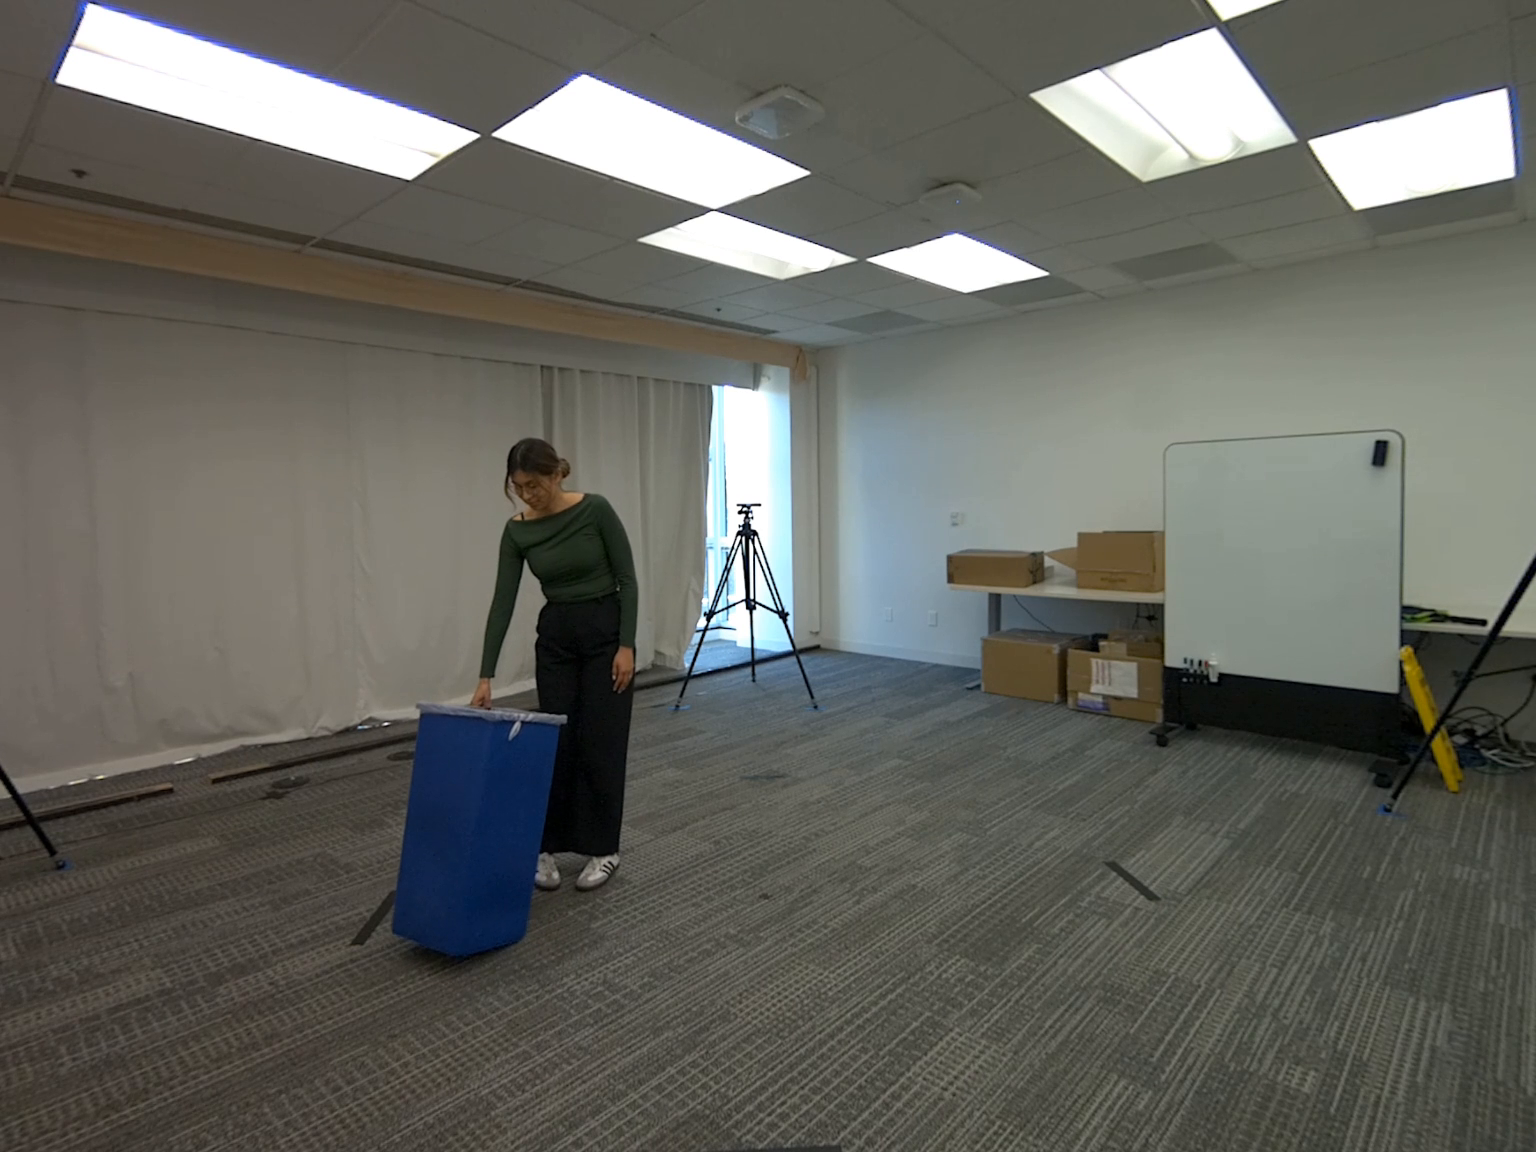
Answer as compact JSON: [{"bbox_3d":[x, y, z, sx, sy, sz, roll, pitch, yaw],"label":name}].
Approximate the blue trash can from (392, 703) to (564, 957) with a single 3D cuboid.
[{"bbox_3d":[-0.947,0.794,2.740,0.388,0.718,0.362,-1,-13,28],"label":"blue trash can"}]
